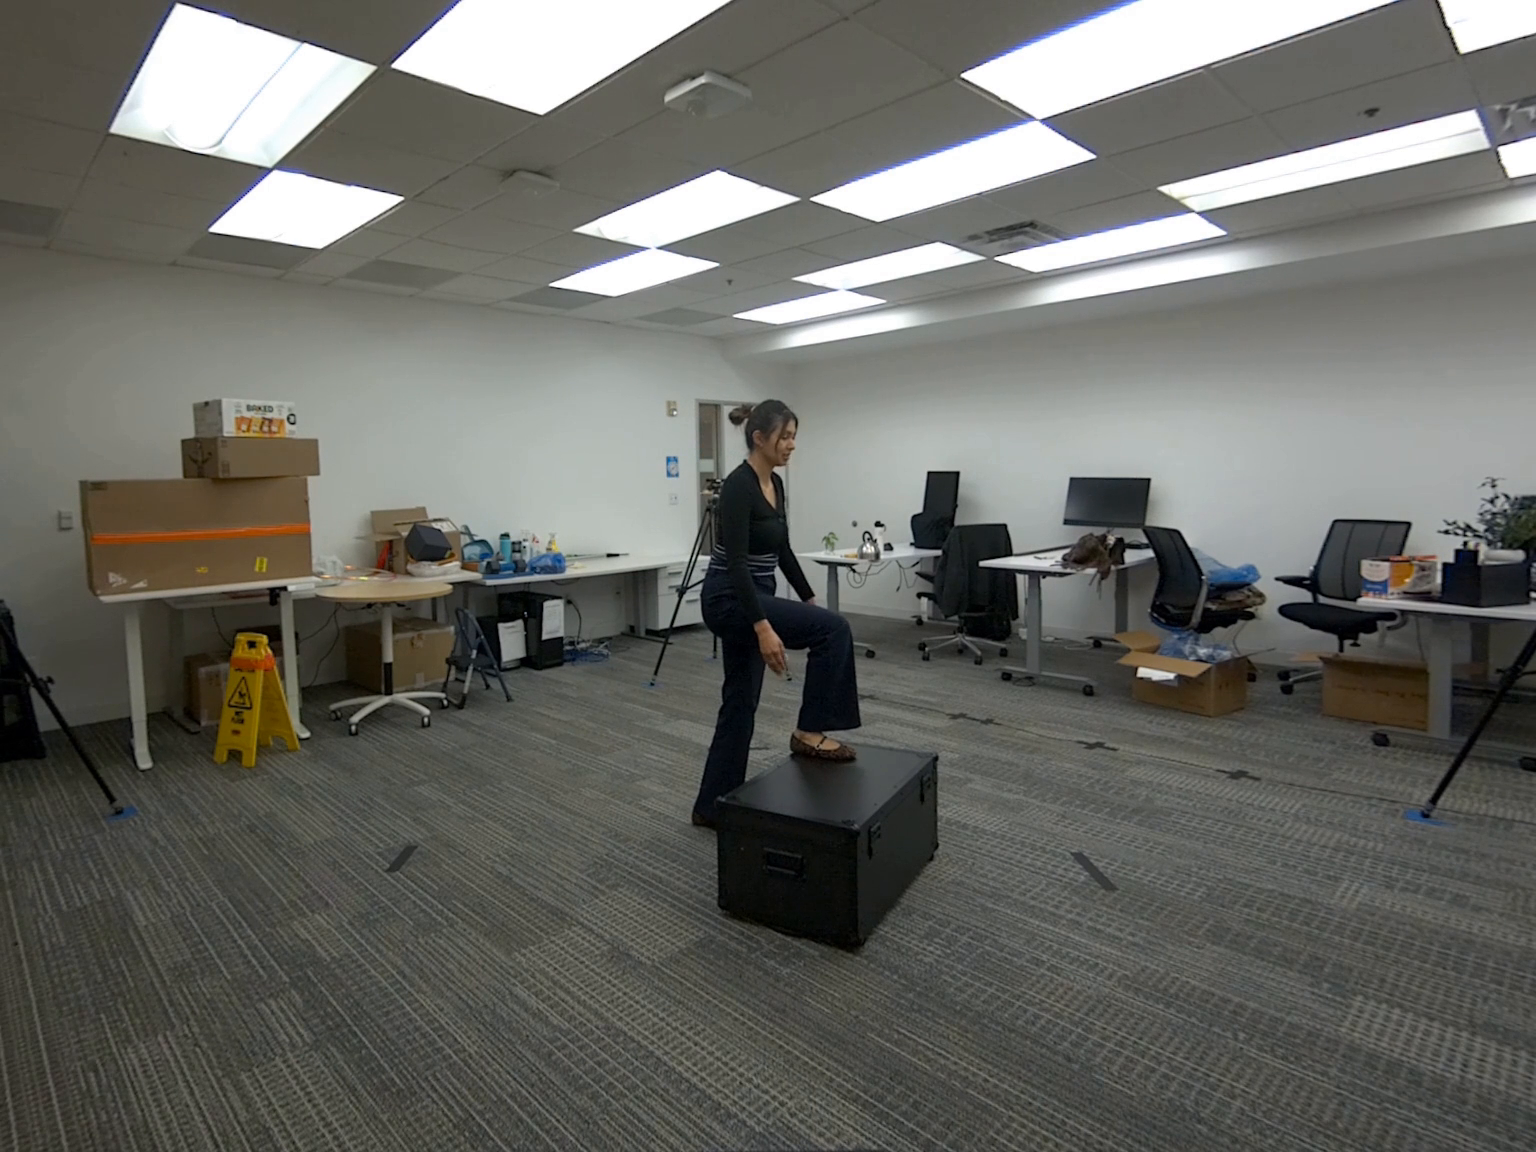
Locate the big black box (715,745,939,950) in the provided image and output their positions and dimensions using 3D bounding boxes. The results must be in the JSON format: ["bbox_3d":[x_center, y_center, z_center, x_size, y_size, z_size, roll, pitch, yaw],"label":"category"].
[{"bbox_3d":[0.253,0.870,2.955,0.534,0.394,0.844,1,6,29],"label":"big black box"}]
